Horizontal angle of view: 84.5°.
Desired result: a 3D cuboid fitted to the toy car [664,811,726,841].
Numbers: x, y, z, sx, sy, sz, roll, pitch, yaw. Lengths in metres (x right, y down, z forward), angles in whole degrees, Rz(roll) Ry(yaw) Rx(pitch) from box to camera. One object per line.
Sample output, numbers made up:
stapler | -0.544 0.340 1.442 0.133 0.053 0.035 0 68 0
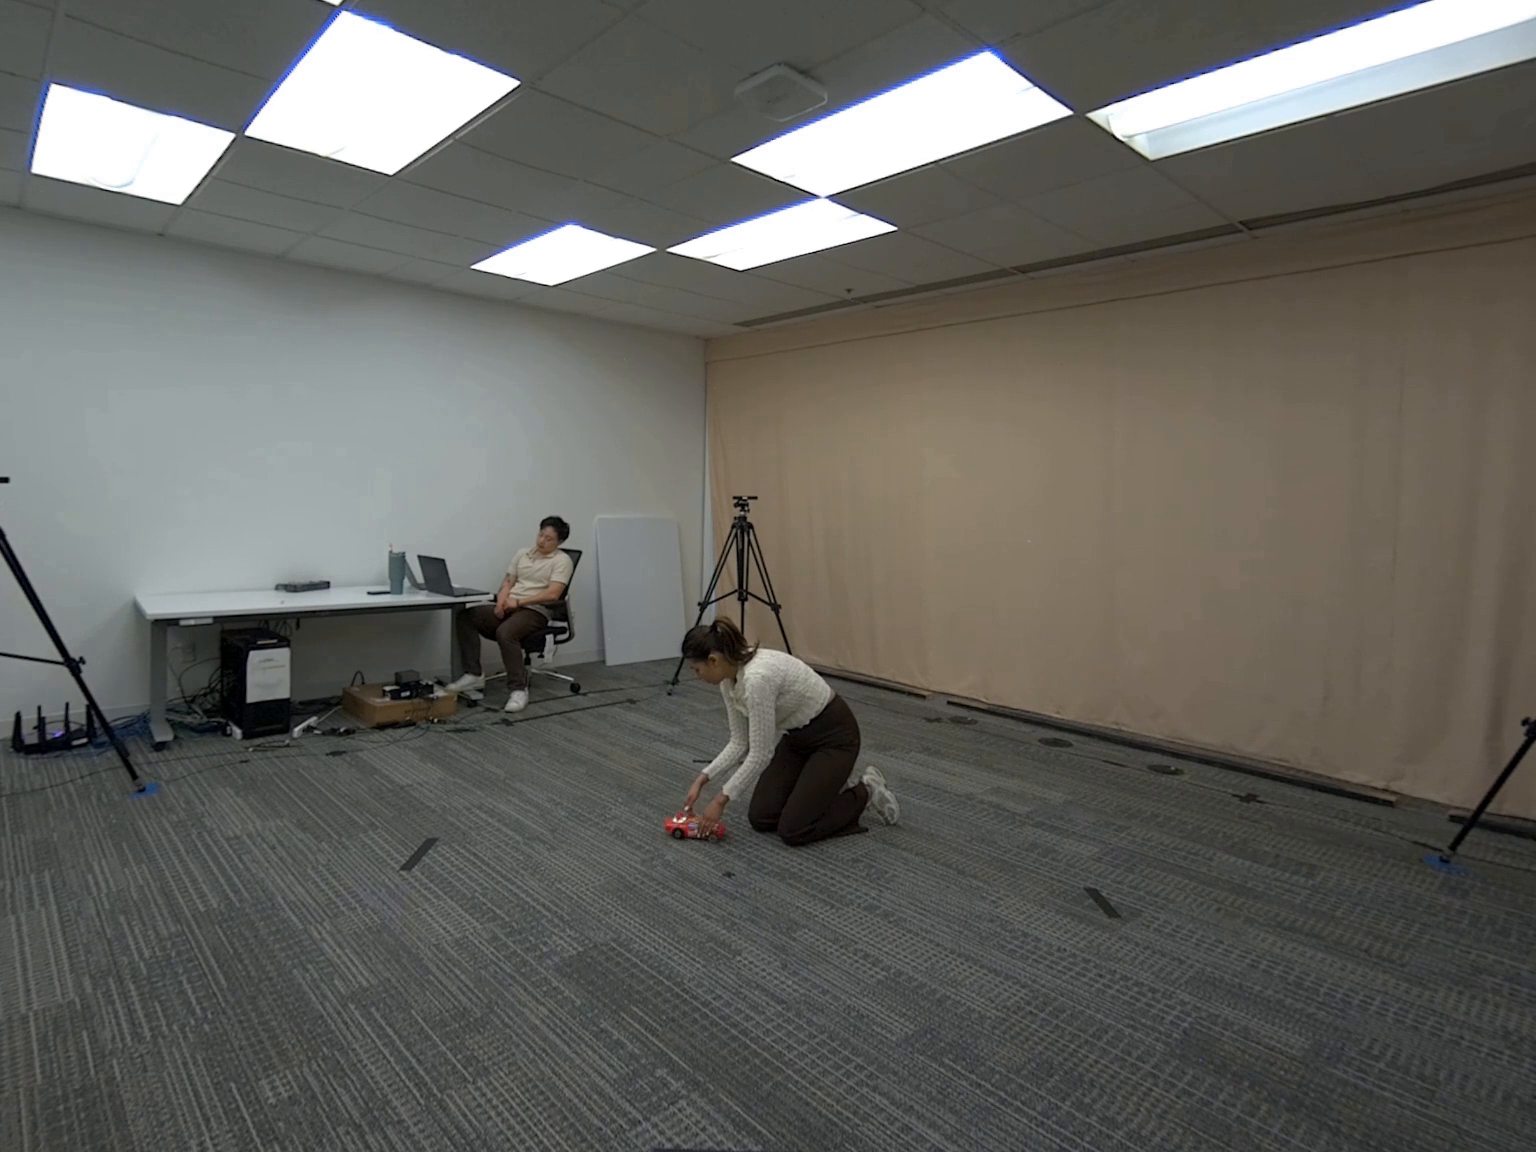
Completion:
toy car | -0.319 1.031 3.456 0.257 0.083 0.129 14 7 11
